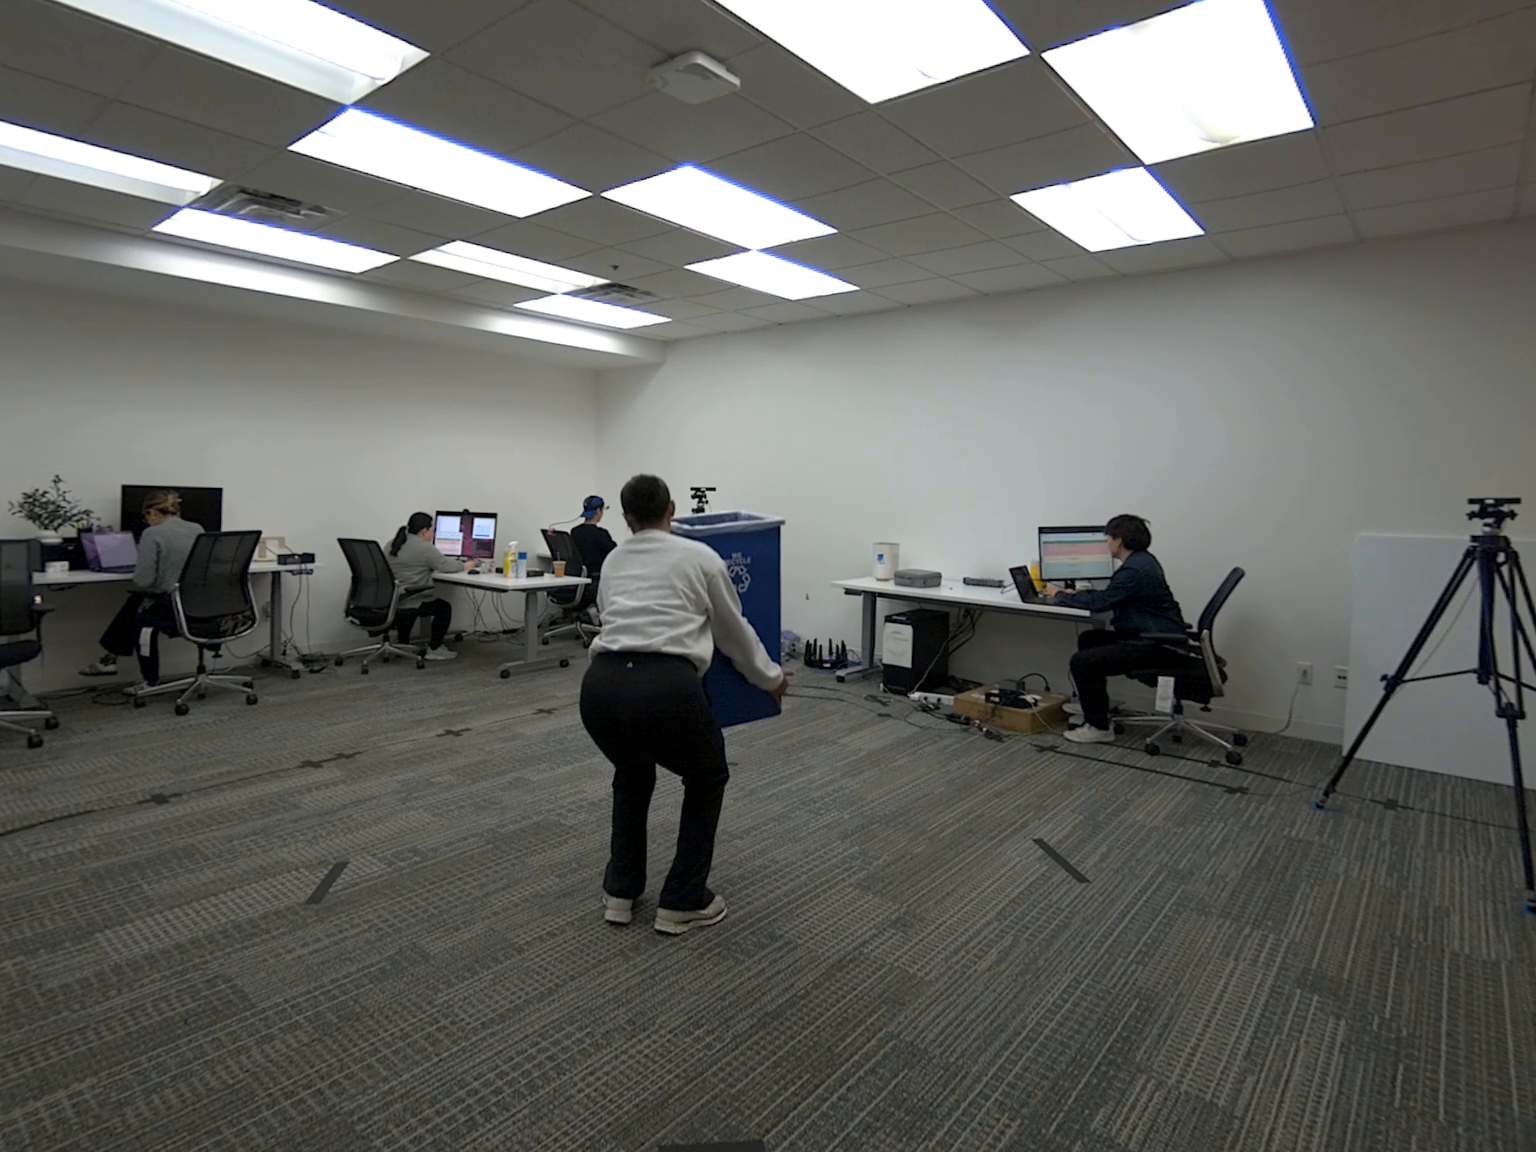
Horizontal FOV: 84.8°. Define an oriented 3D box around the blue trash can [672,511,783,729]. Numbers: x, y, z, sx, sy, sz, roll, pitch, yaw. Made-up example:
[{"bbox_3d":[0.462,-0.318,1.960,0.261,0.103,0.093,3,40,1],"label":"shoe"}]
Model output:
[{"bbox_3d":[-0.168,0.152,3.075,0.369,0.708,0.385,-7,8,-28],"label":"blue trash can"}]
